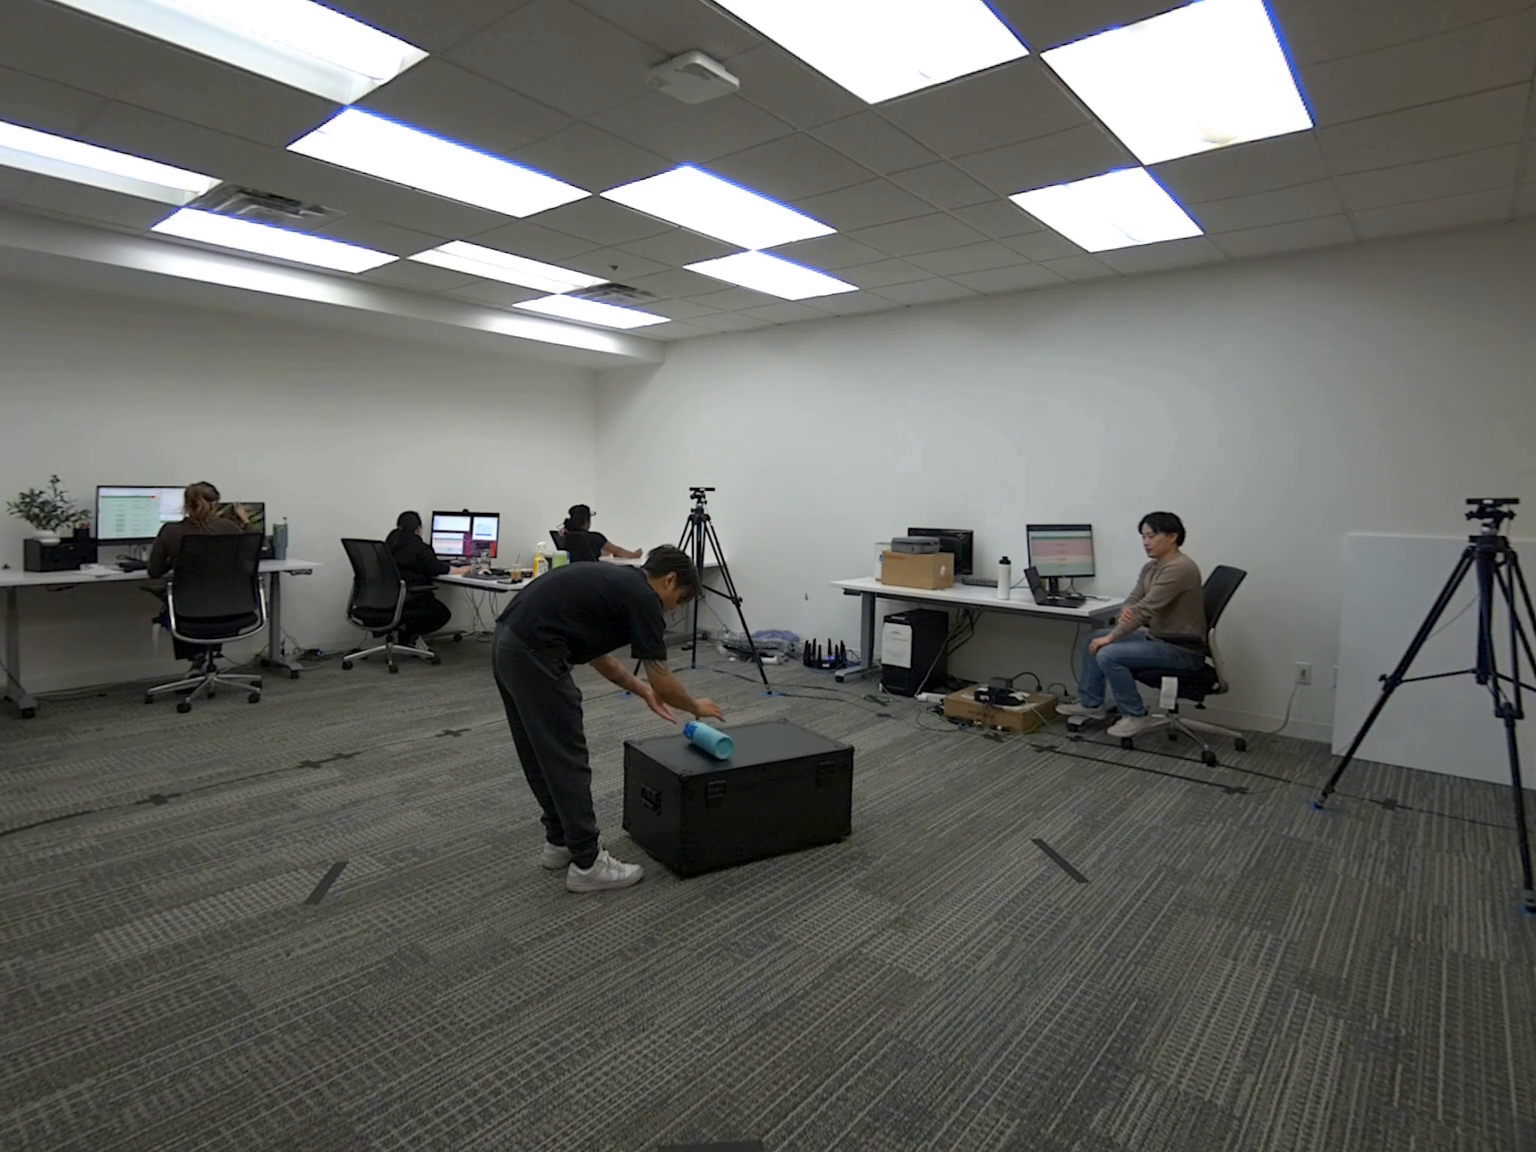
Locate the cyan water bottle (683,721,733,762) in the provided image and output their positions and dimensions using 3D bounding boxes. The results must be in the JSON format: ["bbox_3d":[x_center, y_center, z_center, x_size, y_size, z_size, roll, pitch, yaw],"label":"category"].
[{"bbox_3d":[-0.248,0.623,3.299,0.090,0.092,0.291,-1,4,-29],"label":"cyan water bottle"}]
